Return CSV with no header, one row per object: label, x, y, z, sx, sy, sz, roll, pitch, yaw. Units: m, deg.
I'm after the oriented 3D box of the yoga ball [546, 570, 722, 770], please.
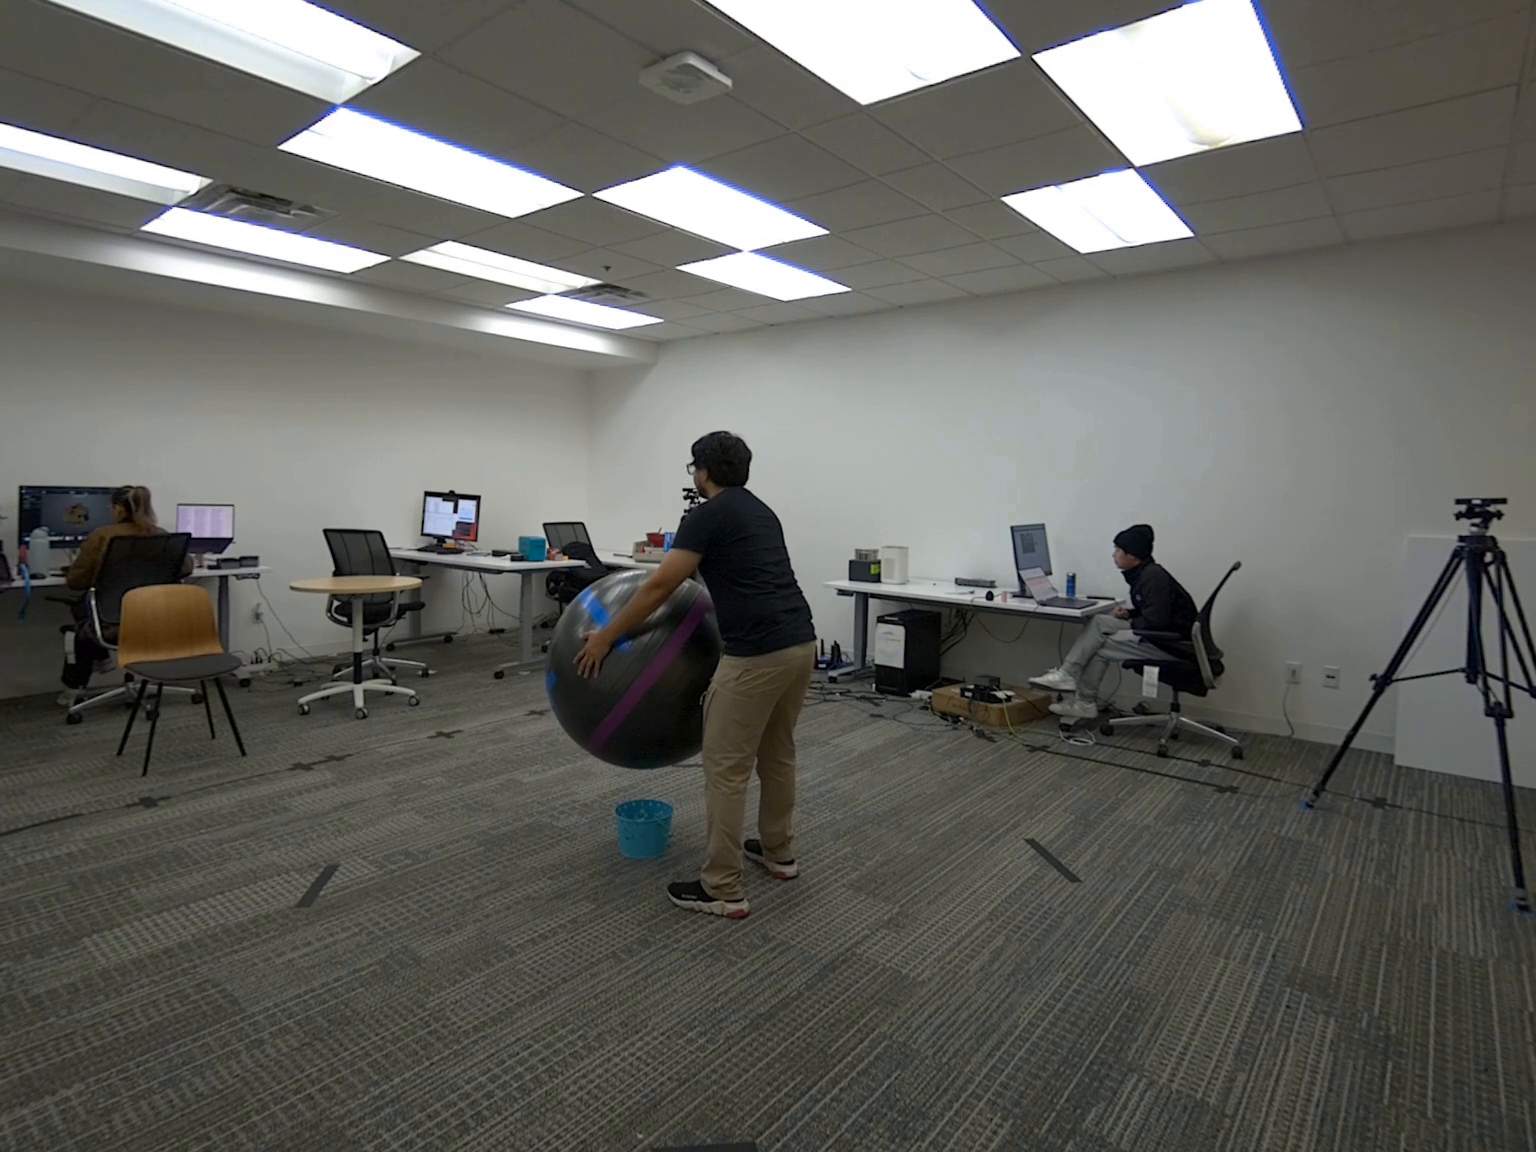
yoga ball,-0.486,0.356,3.274,0.757,0.756,0.761,1,4,-2
